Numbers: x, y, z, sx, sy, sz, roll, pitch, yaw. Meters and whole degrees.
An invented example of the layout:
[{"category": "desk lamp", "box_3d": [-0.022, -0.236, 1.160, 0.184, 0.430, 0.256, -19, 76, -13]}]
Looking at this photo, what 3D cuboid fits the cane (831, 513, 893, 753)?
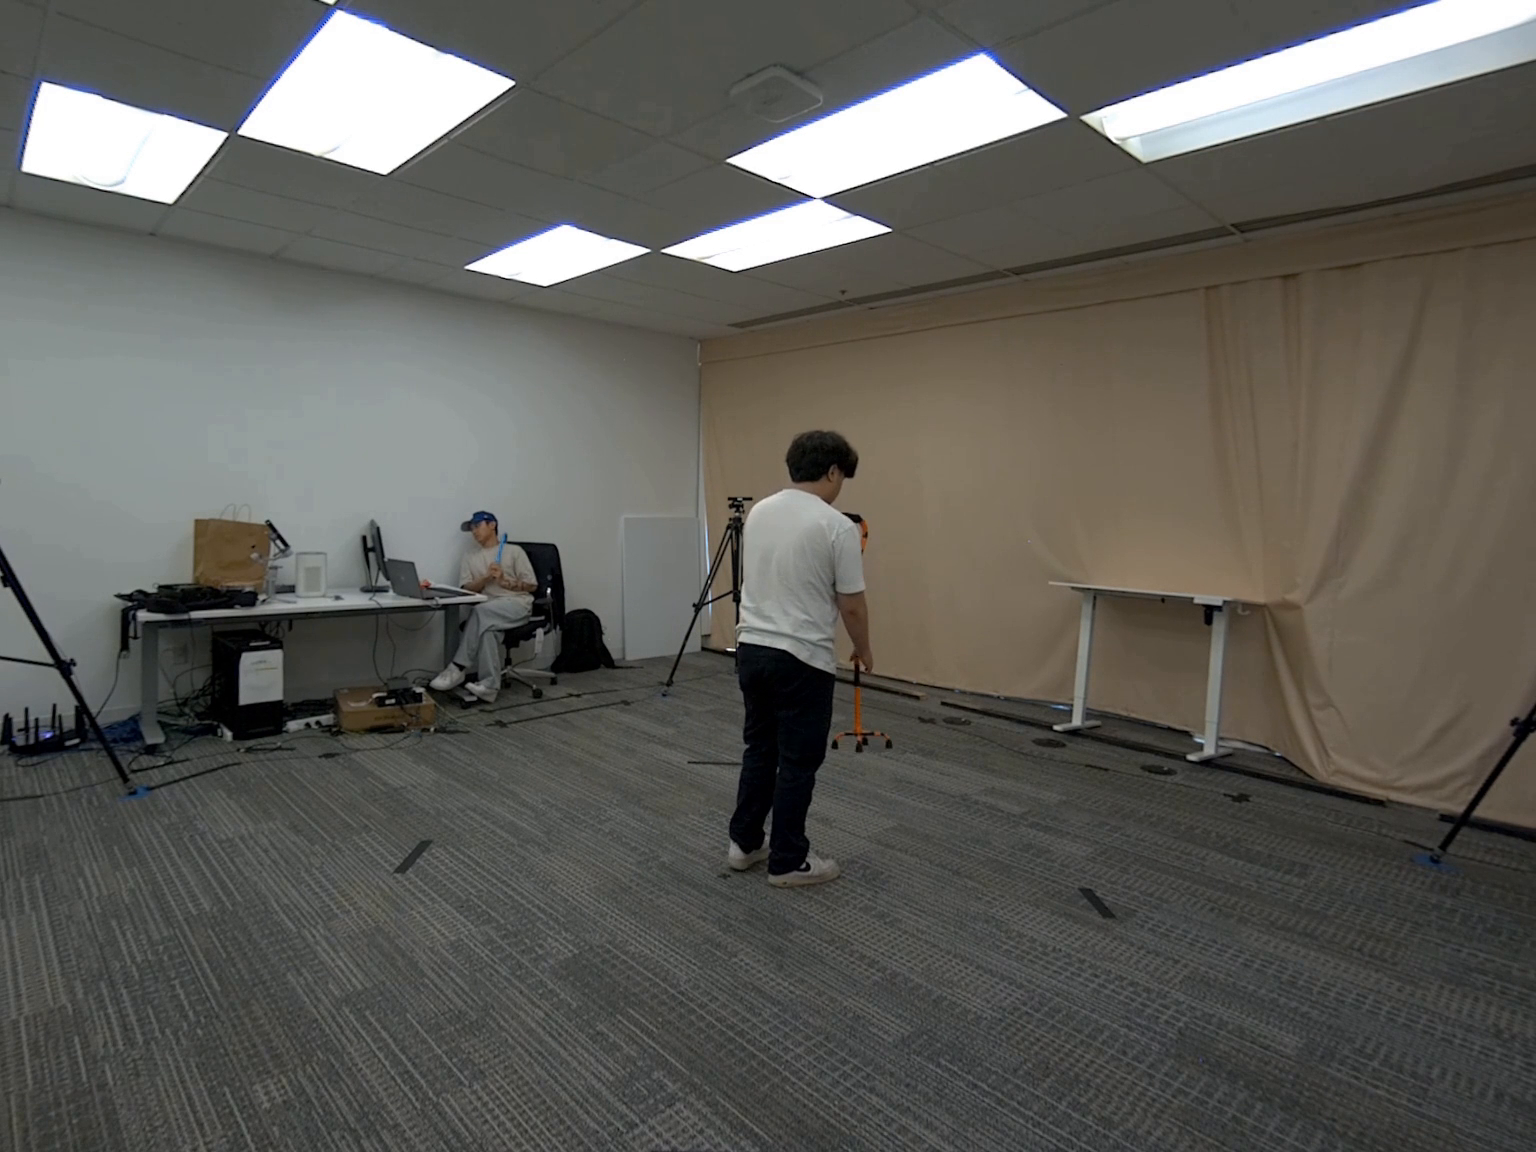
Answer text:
[{"category": "cane", "box_3d": [0.349, 0.223, 3.300, 0.155, 0.912, 0.201, -6, -7, 44]}]
